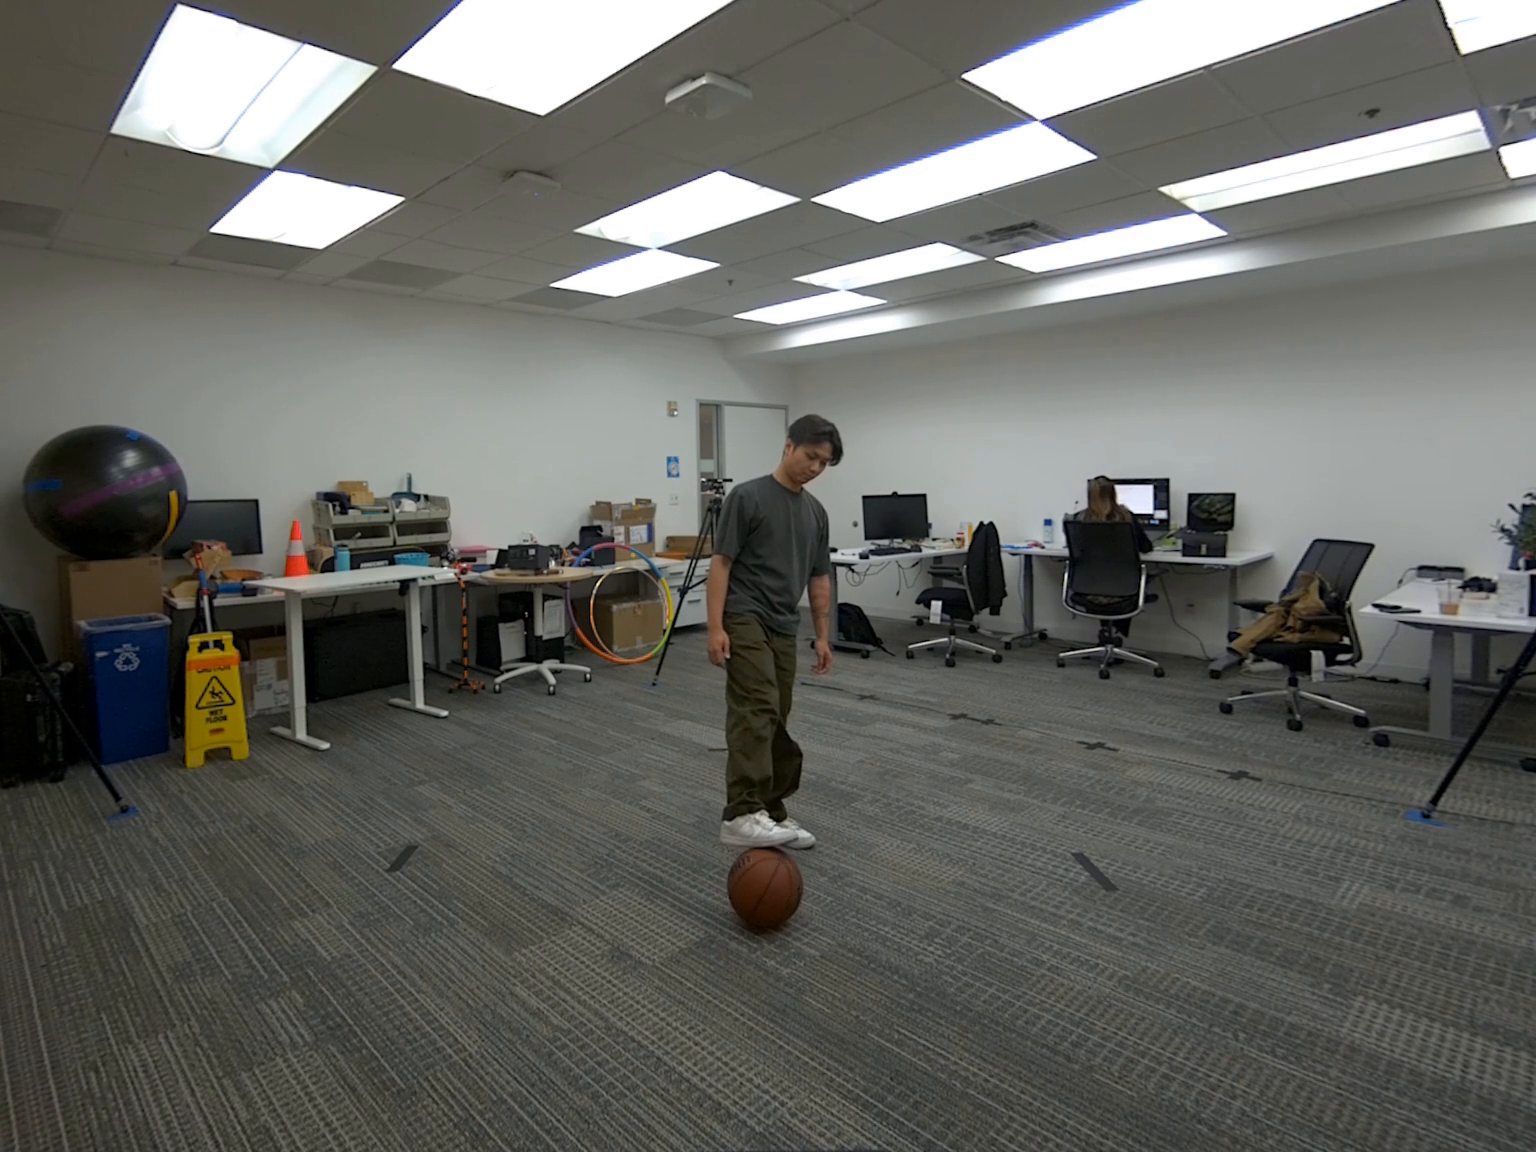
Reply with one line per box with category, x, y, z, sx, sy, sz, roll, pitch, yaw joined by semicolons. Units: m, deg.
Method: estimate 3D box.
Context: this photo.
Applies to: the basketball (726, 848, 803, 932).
basketball;-0.005;0.978;2.684;0.236;0.235;0.237;-1;5;-2
